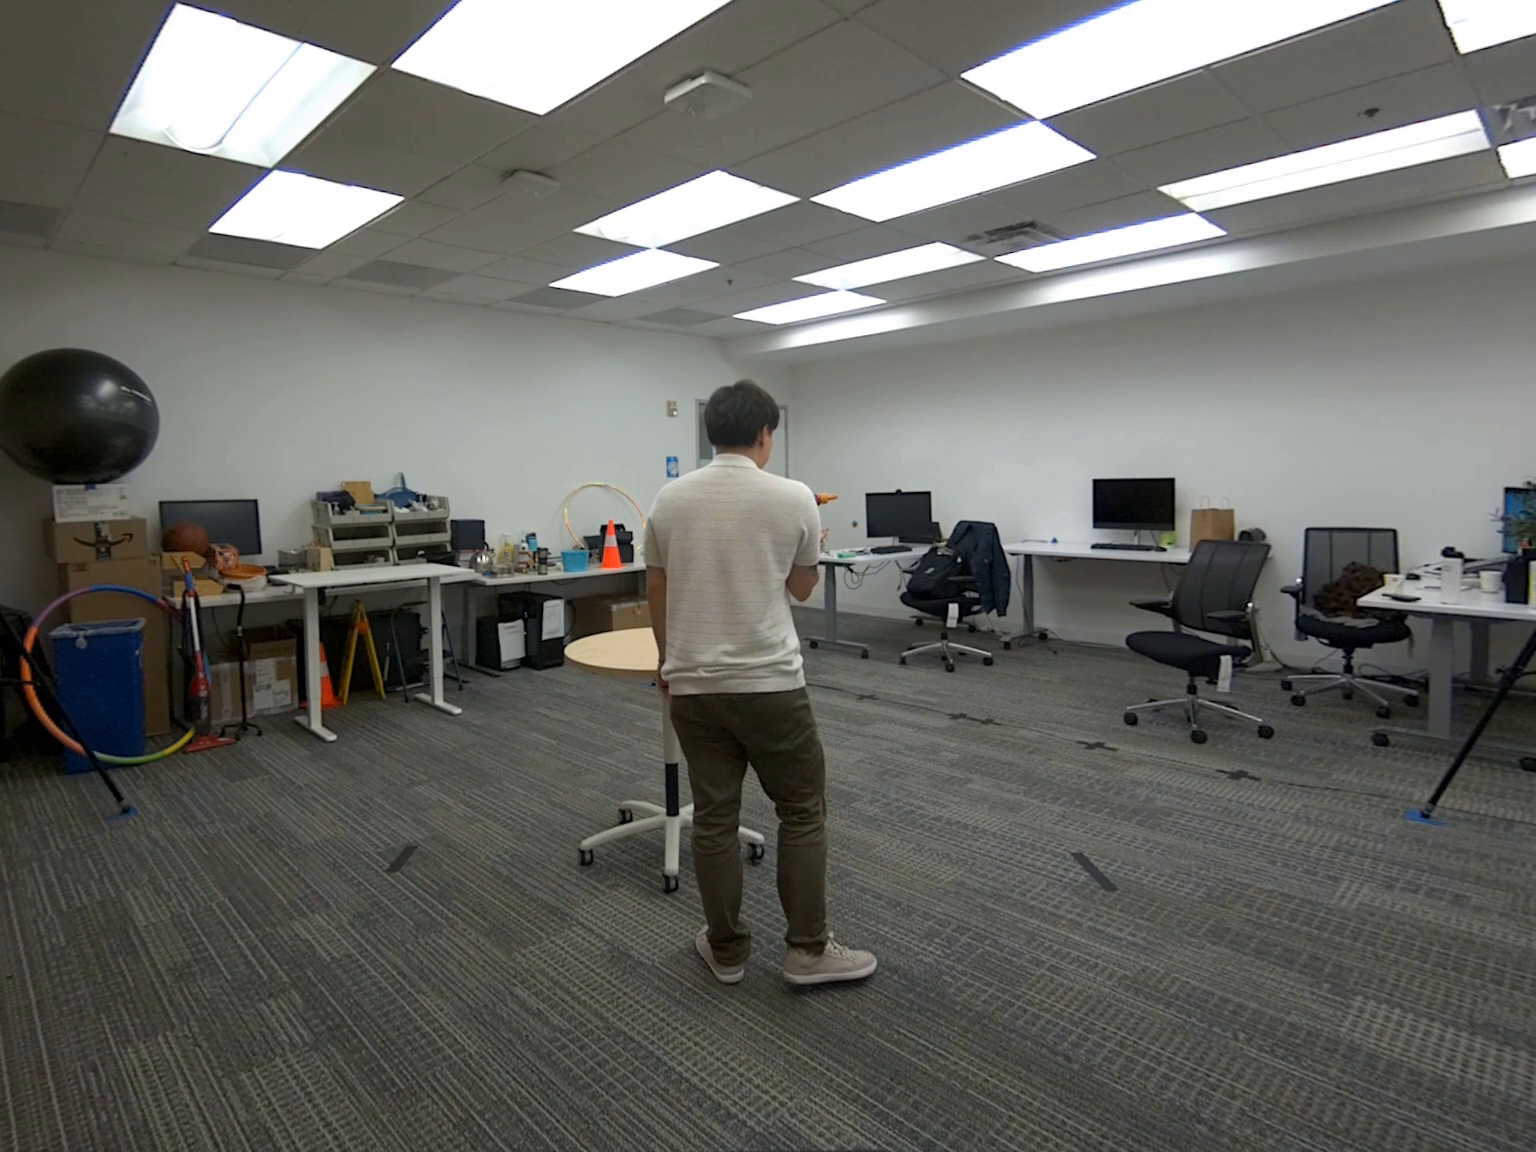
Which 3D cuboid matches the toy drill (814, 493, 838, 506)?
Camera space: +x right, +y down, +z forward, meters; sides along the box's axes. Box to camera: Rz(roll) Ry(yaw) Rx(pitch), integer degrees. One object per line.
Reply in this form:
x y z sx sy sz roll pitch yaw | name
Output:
0.153 -0.201 2.720 0.170 0.146 0.061 -11 3 6 | toy drill
